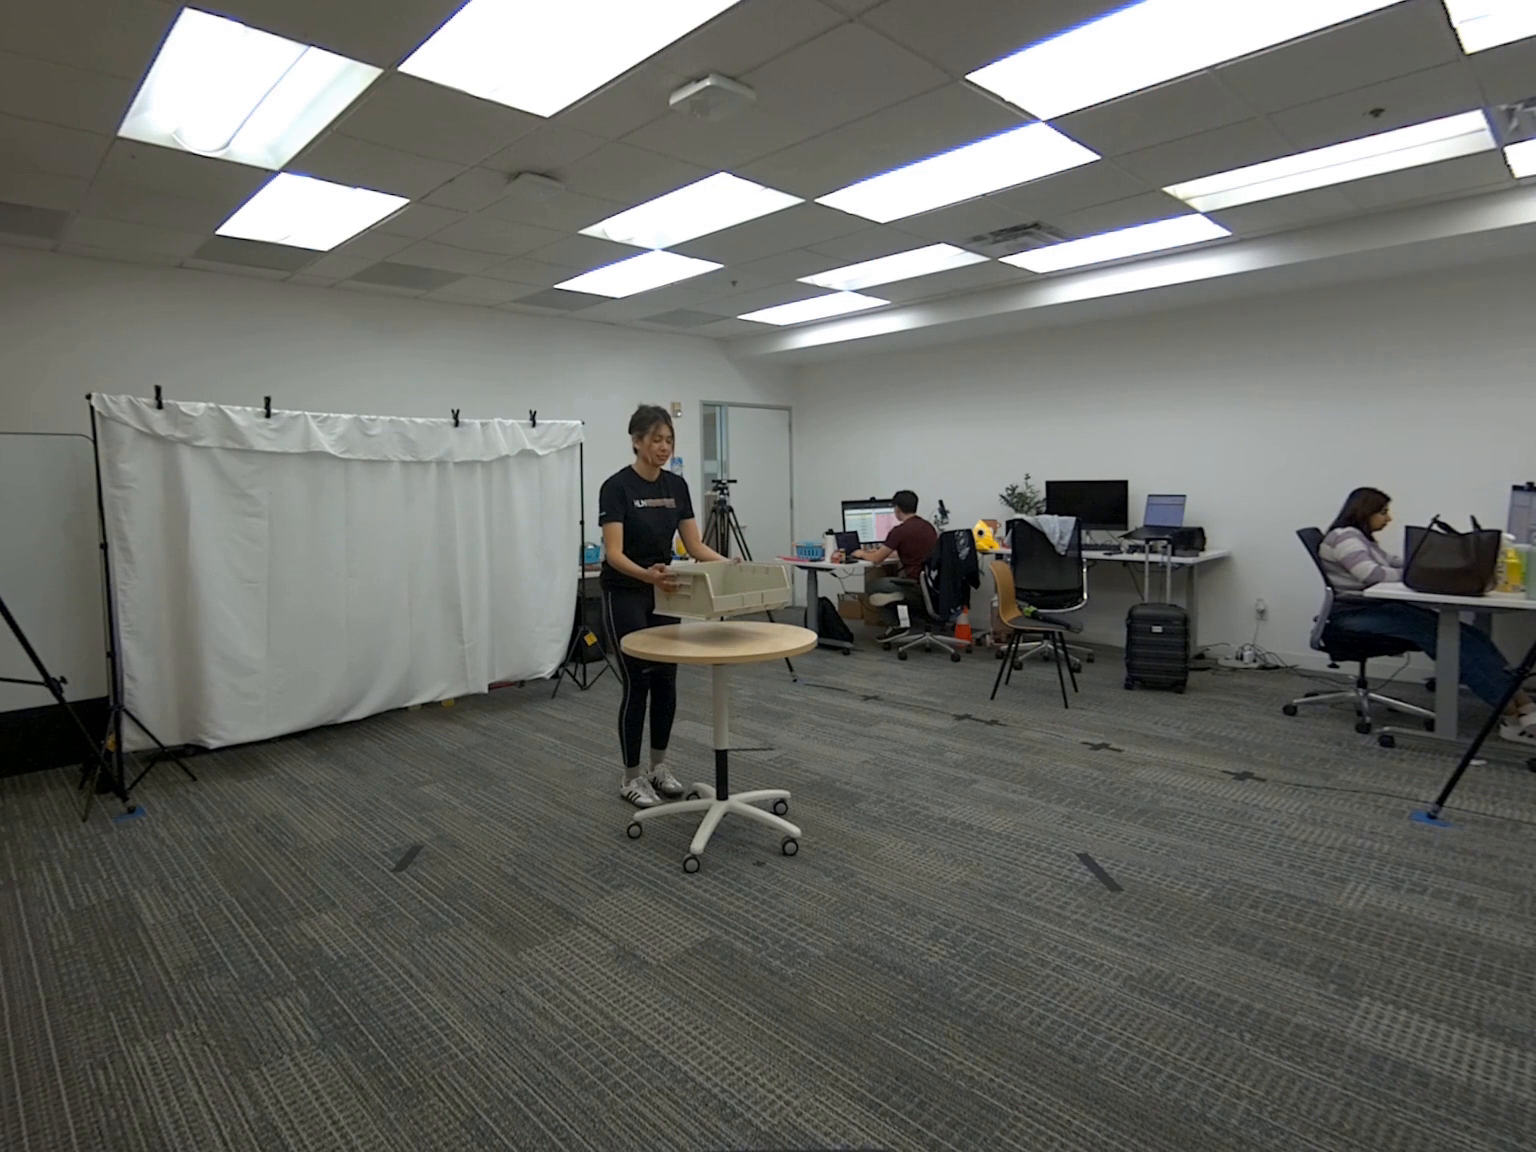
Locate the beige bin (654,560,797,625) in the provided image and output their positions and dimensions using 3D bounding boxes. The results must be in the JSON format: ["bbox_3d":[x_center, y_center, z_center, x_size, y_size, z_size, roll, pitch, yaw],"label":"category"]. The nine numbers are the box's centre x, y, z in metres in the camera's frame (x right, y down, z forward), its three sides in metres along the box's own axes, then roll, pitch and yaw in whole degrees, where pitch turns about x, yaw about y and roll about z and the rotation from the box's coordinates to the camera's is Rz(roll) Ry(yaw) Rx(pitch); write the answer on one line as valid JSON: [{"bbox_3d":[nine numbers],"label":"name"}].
[{"bbox_3d":[-0.177,0.053,3.340,0.411,0.188,0.388,-7,6,-43],"label":"beige bin"}]
